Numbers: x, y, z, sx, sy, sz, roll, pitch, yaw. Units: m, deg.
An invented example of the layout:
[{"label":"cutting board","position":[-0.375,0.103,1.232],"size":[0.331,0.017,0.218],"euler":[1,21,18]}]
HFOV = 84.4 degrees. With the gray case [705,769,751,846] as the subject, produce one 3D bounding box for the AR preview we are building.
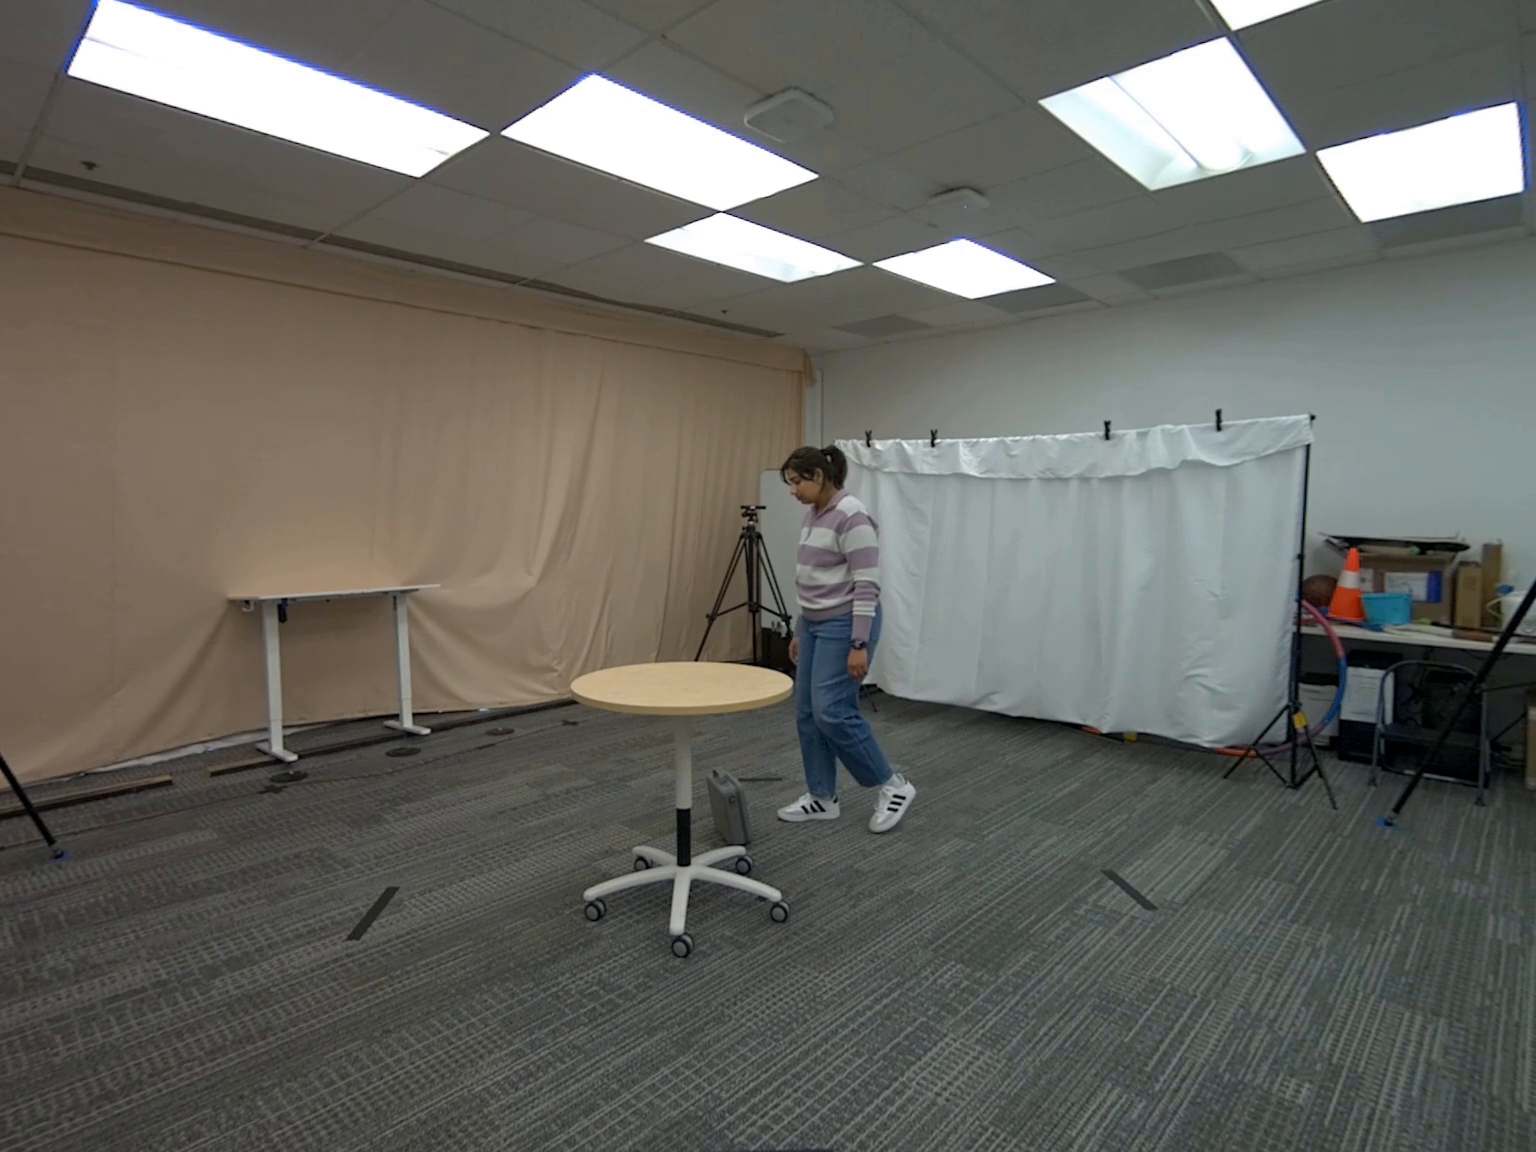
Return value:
[{"label":"gray case","position":[-0.162,0.964,3.532],"size":[0.102,0.259,0.262],"euler":[-11,7,-20]}]
